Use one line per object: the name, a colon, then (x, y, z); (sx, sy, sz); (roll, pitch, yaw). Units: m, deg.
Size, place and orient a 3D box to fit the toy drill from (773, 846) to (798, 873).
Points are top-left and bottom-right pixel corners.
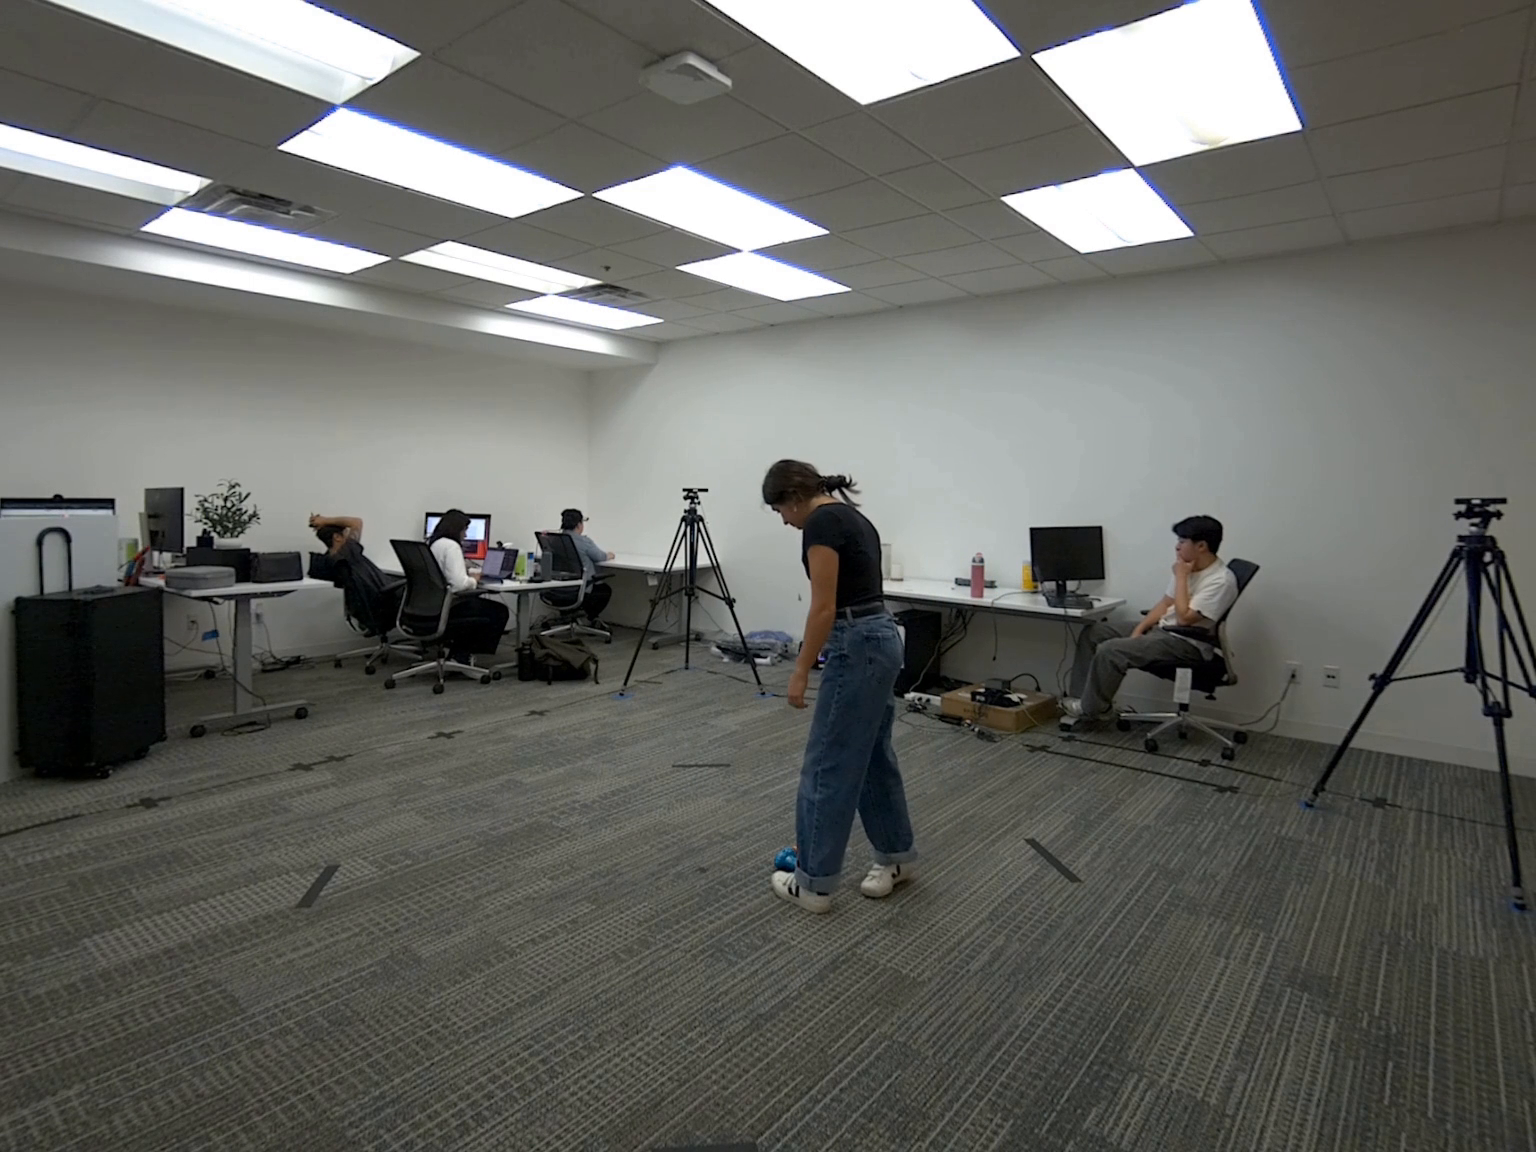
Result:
toy drill: (0.110, 1.043, 3.152); (0.151, 0.061, 0.165); (6, 10, 35)
